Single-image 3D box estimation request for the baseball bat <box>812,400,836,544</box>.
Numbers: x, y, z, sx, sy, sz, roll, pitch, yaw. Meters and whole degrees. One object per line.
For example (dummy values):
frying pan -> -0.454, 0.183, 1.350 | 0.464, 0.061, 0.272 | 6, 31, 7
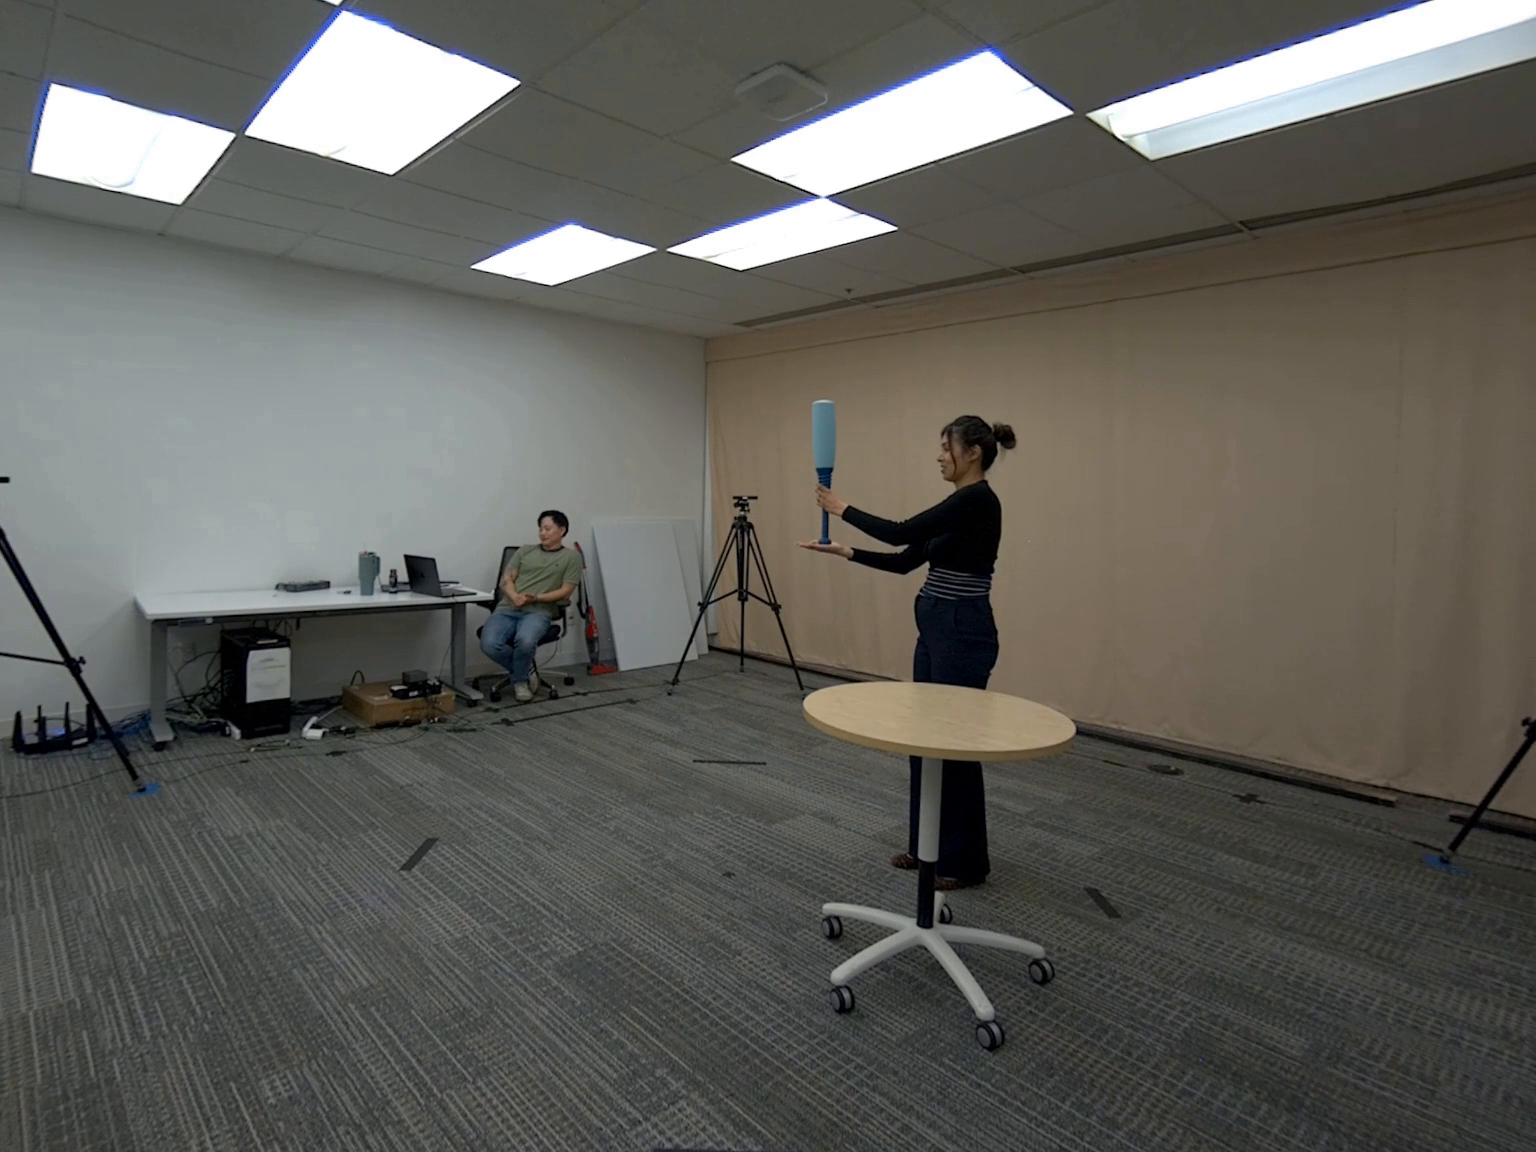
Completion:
baseball bat -> 0.223, -0.388, 3.169 | 0.089, 0.541, 0.089 | -3, 5, -1
